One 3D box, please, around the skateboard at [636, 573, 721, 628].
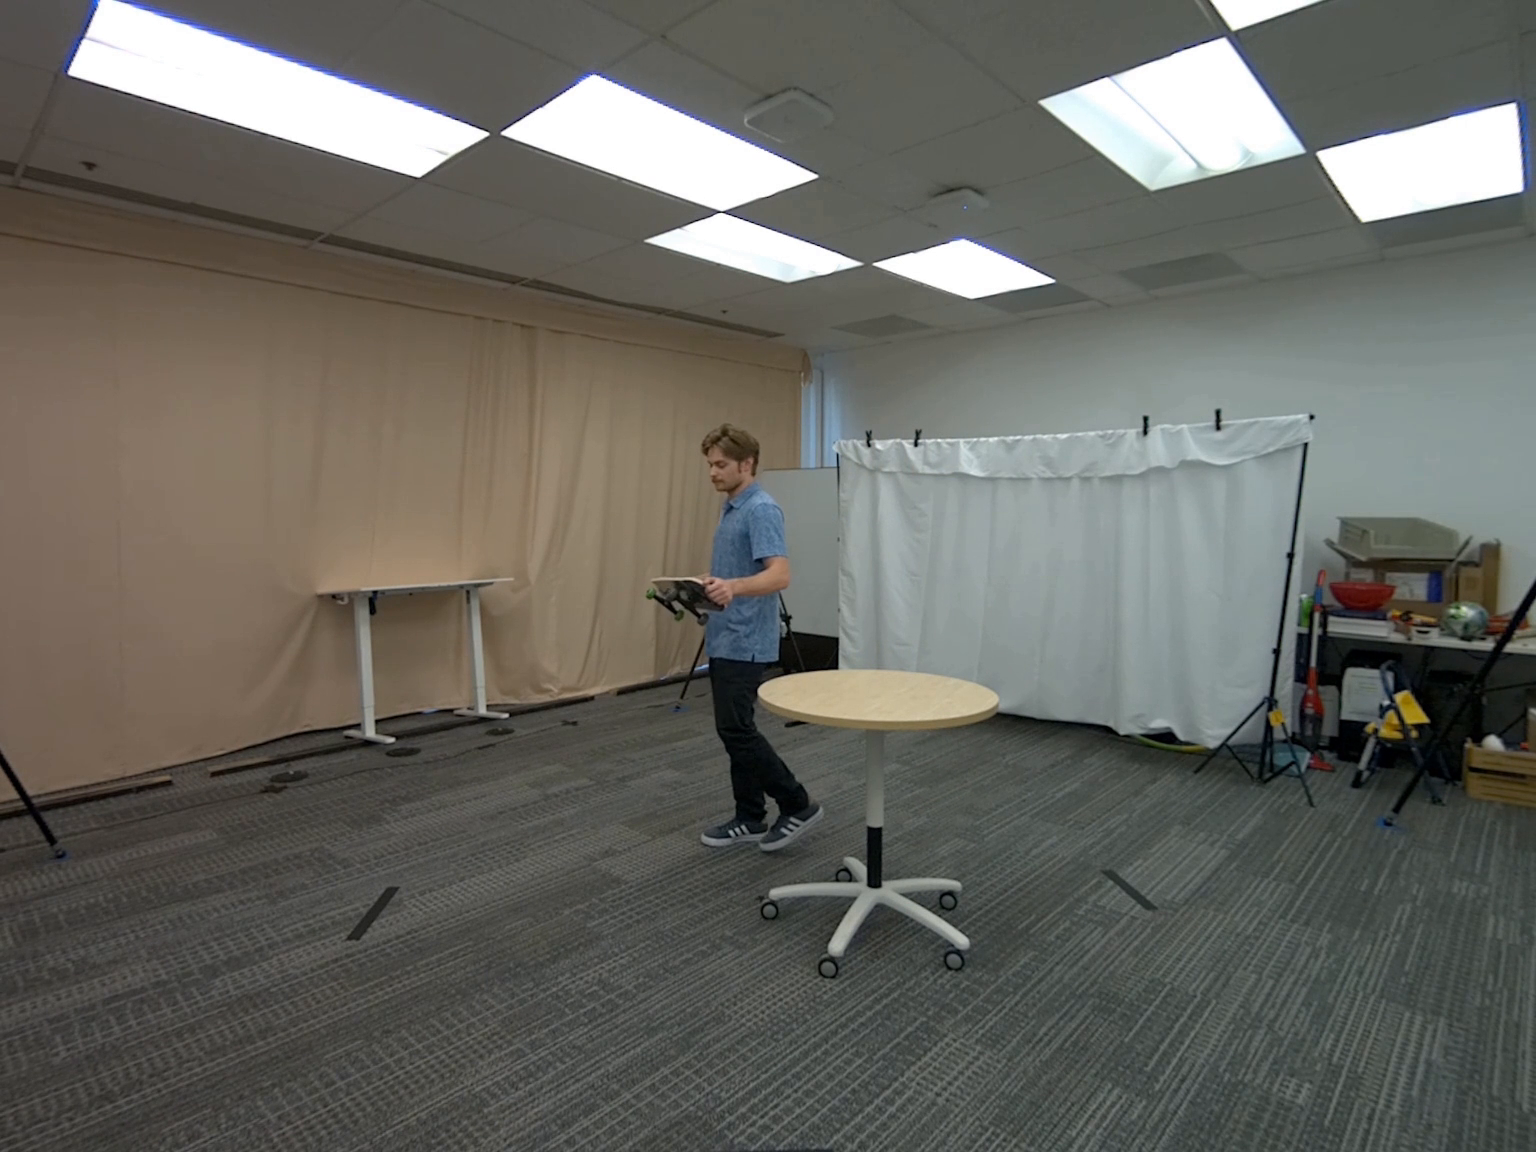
[{"bbox_3d":[-0.345,0.093,3.365,0.190,0.110,0.799,39,-12,-14],"label":"skateboard"}]
